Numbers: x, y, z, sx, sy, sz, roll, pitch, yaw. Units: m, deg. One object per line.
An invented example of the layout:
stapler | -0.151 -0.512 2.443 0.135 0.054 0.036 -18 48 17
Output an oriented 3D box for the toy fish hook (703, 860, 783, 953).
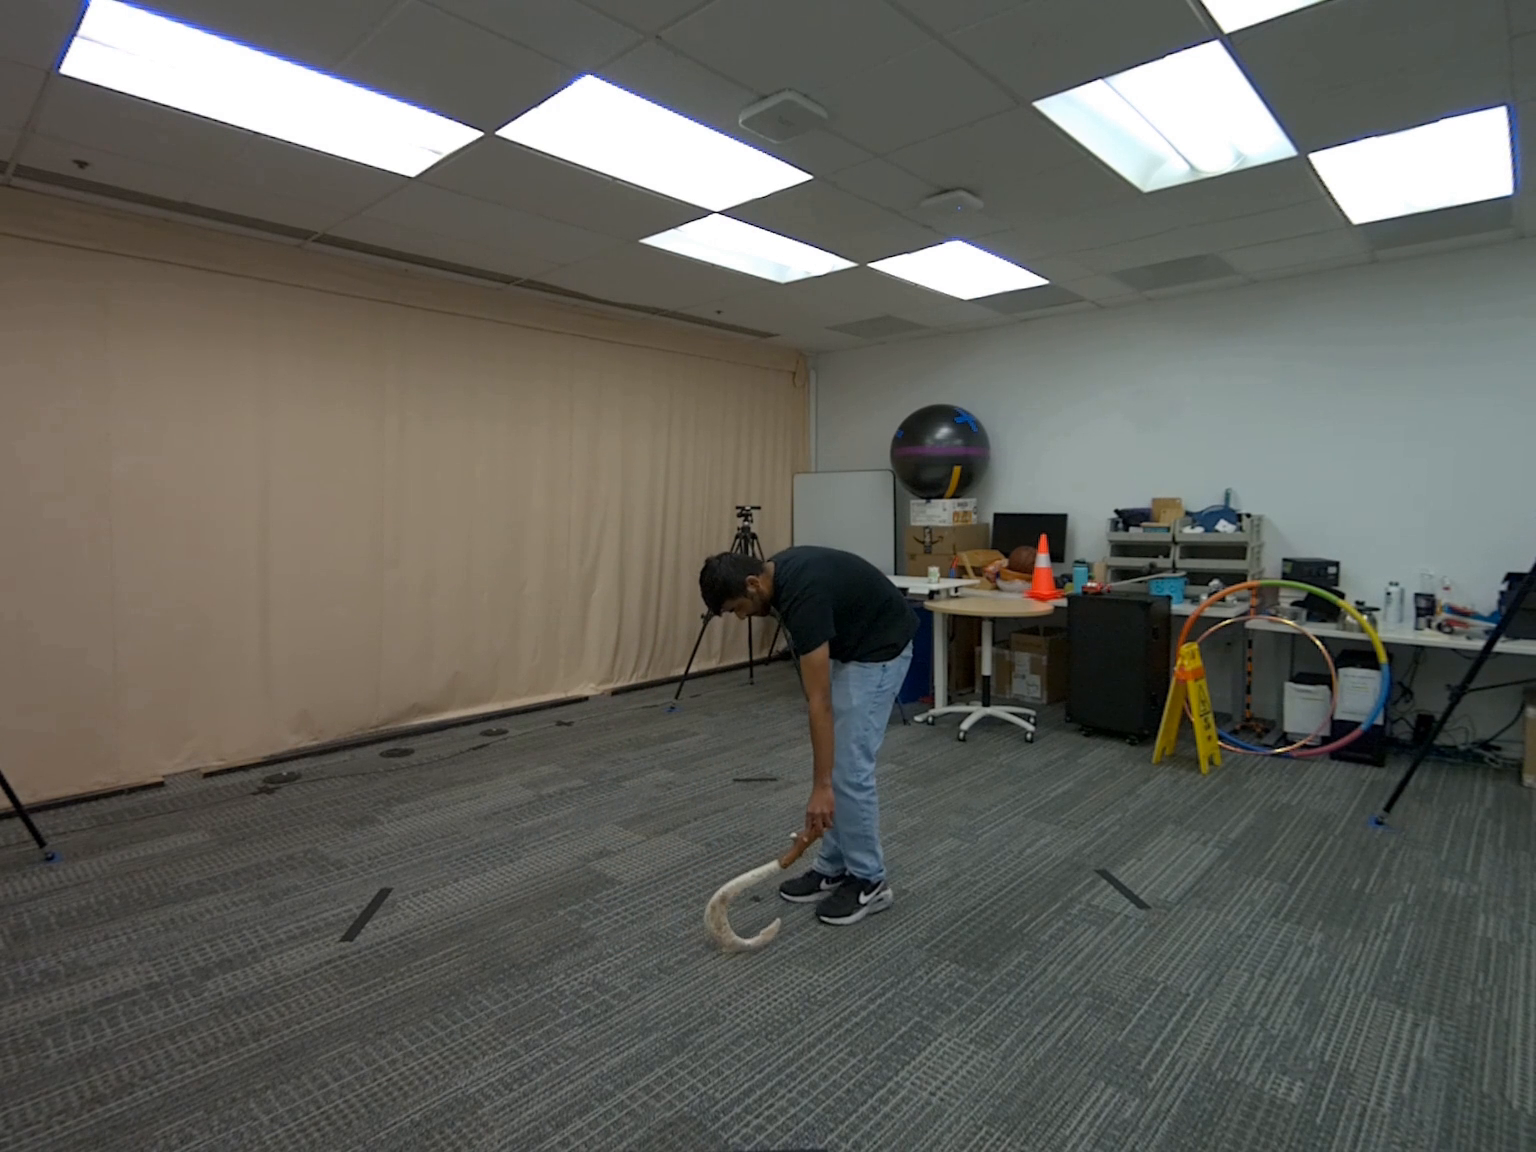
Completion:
toy fish hook | 0.029 0.977 2.644 0.506 0.223 0.048 -41 4 -3
